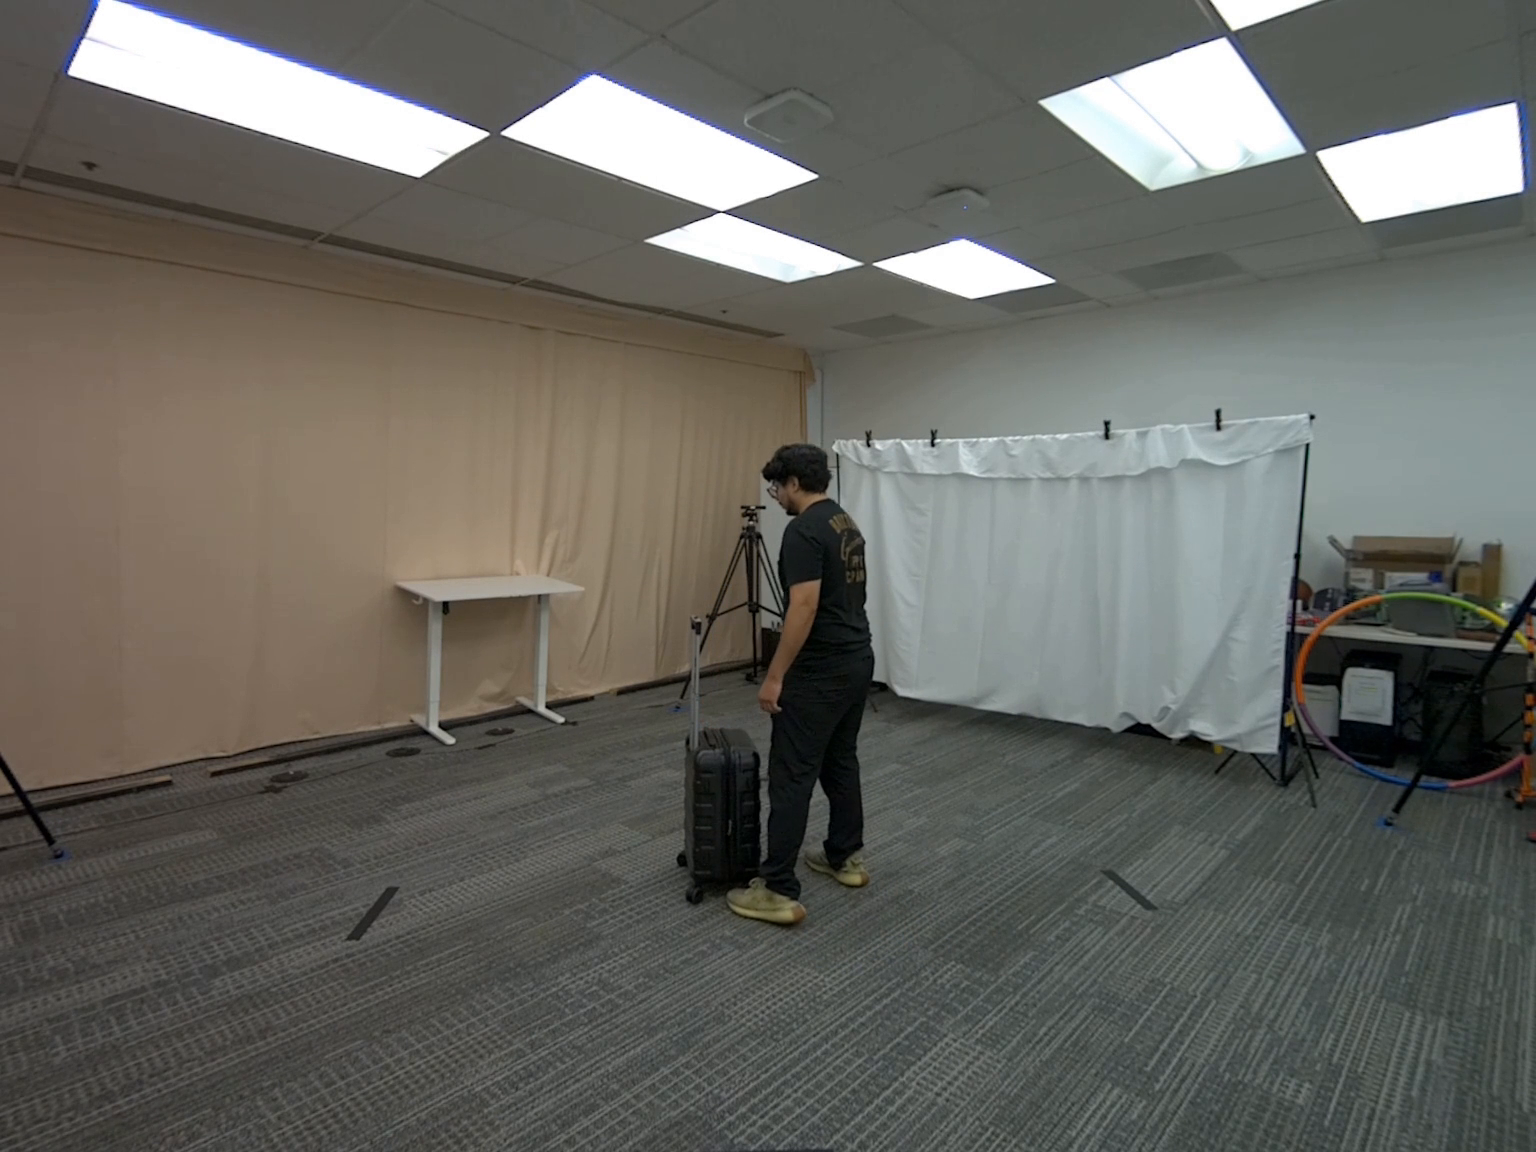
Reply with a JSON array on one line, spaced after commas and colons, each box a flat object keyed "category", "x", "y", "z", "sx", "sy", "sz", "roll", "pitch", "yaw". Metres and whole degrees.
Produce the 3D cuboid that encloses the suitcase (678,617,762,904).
[{"category": "suitcase", "x": -0.165, "y": 0.657, "z": 3.115, "sx": 0.255, "sy": 0.977, "sz": 0.388, "roll": 0, "pitch": 3, "yaw": -9}]
